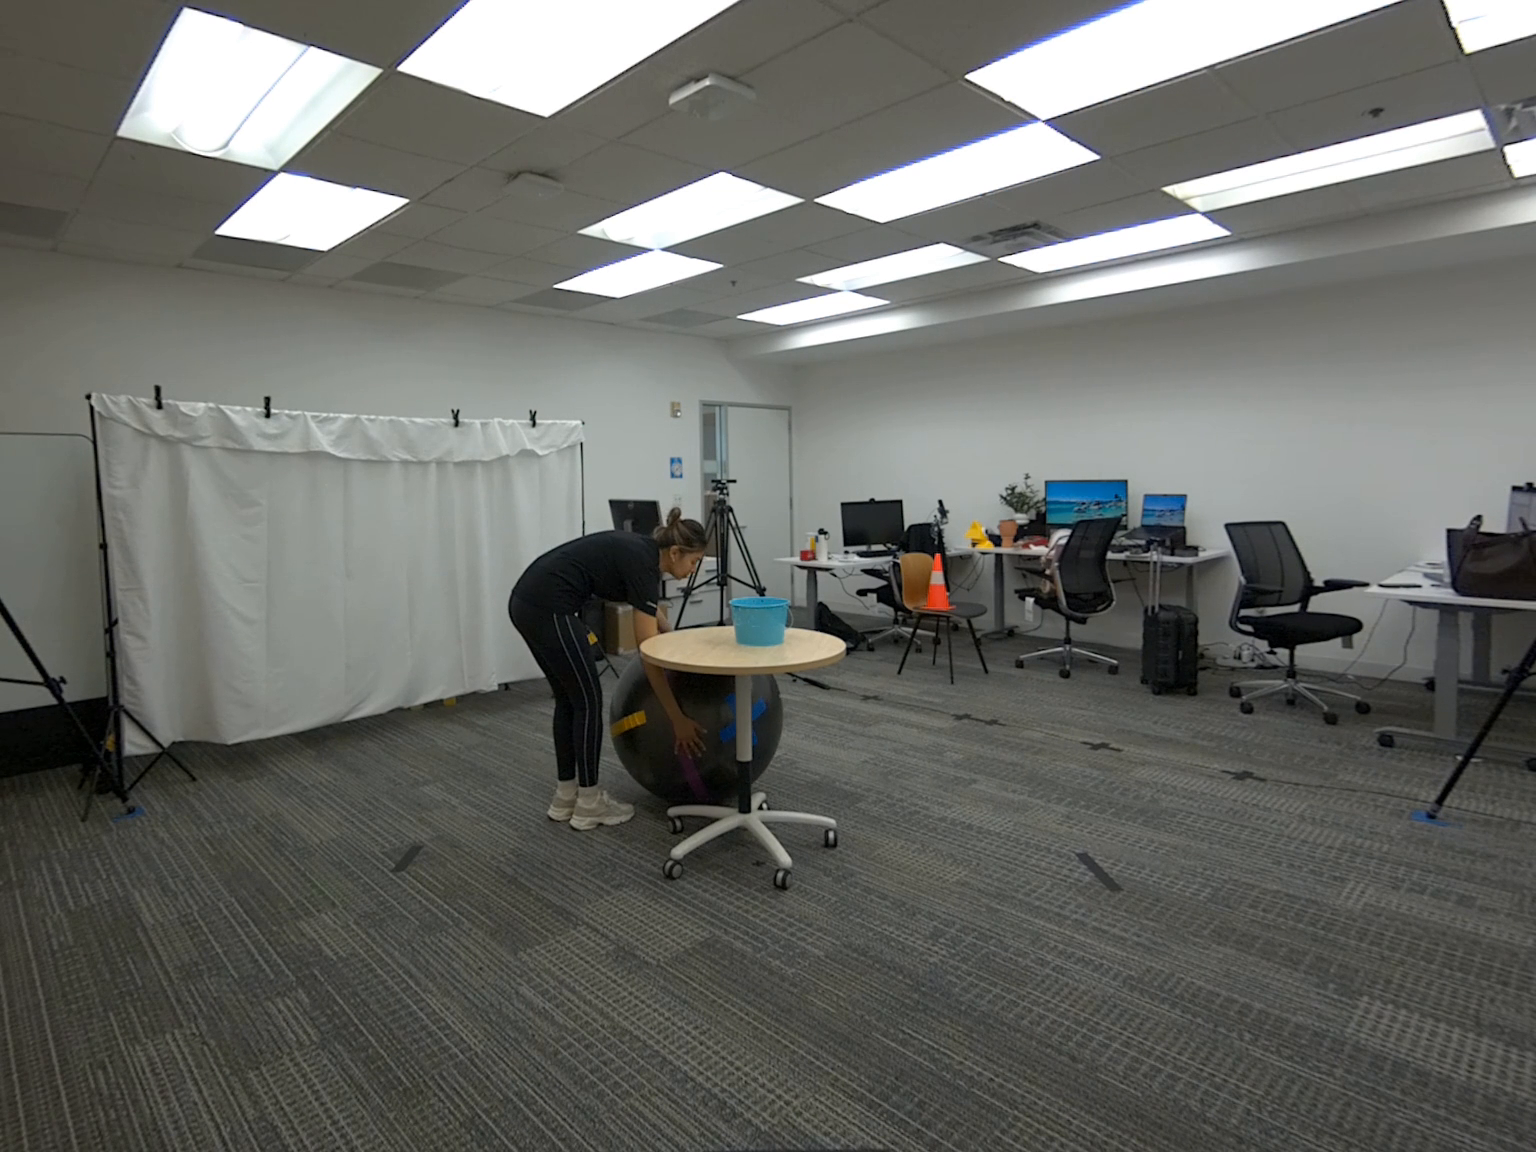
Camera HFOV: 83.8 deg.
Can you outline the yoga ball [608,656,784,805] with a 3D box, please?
[{"bbox_3d":[-0.312,0.610,3.756,0.757,0.755,0.762,-1,5,-2],"label":"yoga ball"}]
